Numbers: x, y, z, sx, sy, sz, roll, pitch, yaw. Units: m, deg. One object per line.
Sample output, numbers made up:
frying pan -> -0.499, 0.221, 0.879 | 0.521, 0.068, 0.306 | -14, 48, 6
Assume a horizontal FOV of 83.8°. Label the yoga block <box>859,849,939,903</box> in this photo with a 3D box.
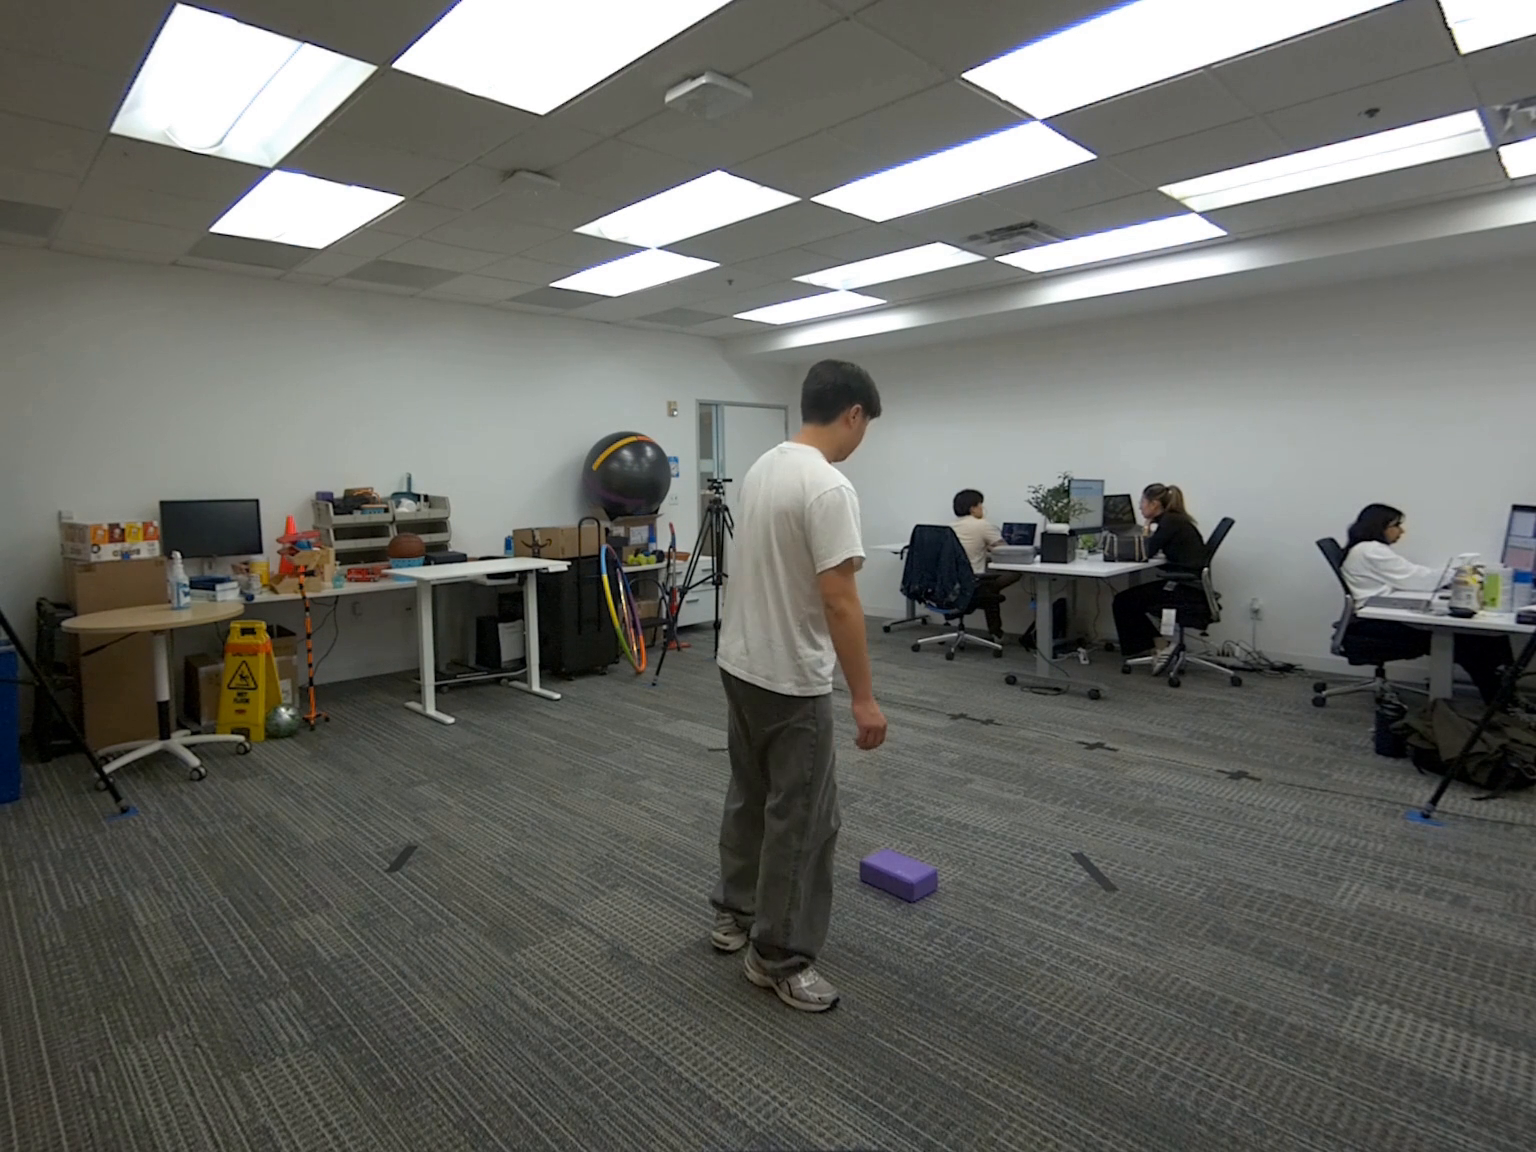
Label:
yoga block -> 0.450, 1.020, 2.922 | 0.145, 0.076, 0.236 | -6, 8, -42
